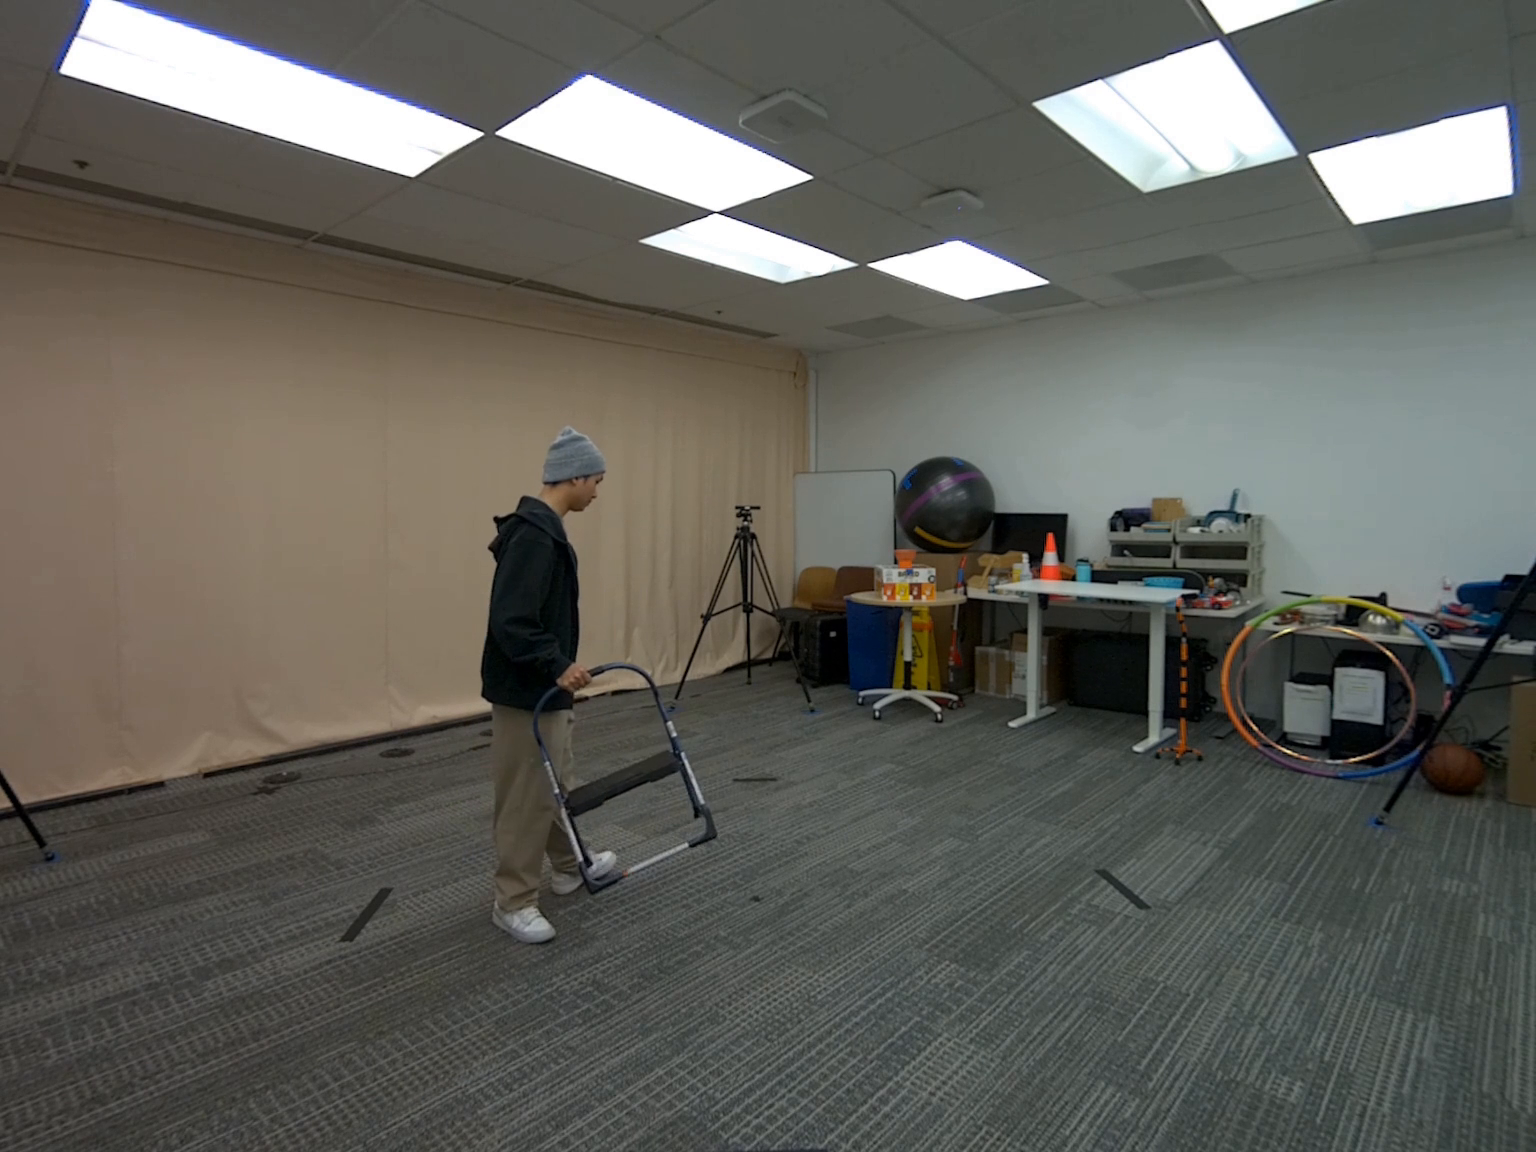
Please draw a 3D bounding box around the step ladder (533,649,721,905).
[{"bbox_3d":[-0.485,0.593,2.649,0.426,0.607,0.352,-20,-1,-13],"label":"step ladder"}]
